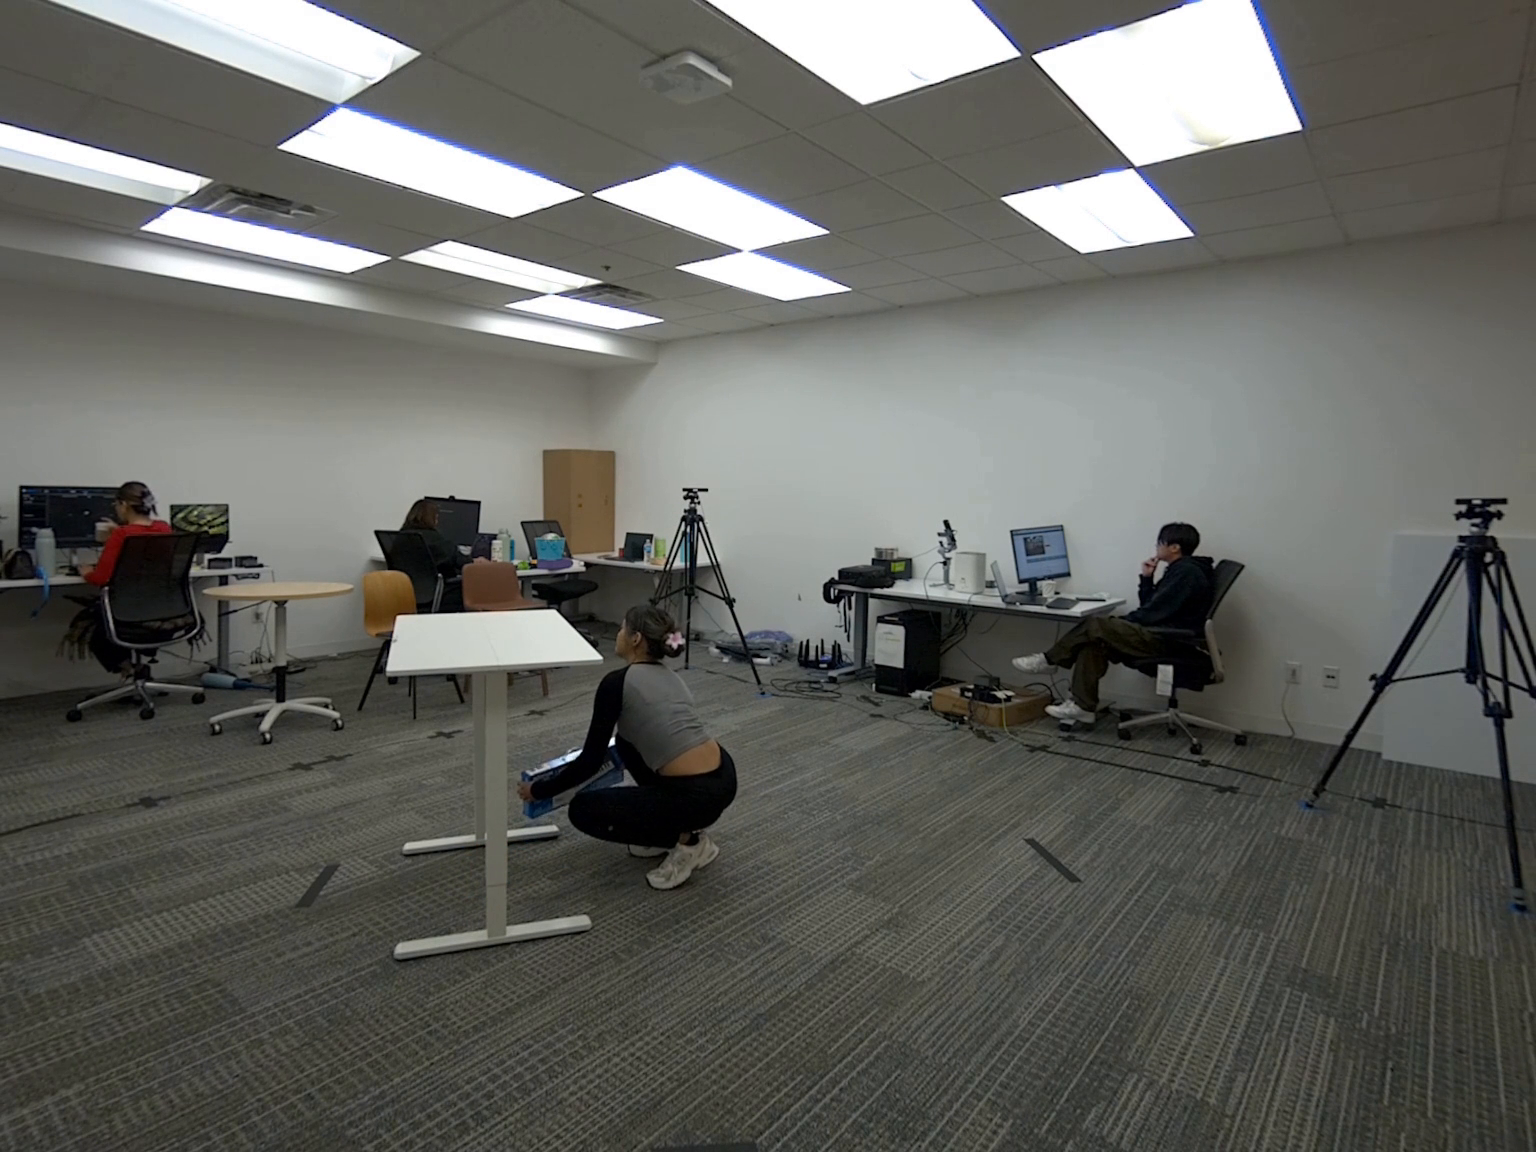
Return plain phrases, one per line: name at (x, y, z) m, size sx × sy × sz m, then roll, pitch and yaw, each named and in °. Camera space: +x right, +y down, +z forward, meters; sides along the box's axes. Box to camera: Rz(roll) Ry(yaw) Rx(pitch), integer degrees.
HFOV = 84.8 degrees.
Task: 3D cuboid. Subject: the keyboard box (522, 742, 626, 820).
keyboard box at (-0.760, 0.782, 3.302) m, size 0.061 × 0.174 × 0.426 m, roll 10°, pitch 17°, yaw 44°
